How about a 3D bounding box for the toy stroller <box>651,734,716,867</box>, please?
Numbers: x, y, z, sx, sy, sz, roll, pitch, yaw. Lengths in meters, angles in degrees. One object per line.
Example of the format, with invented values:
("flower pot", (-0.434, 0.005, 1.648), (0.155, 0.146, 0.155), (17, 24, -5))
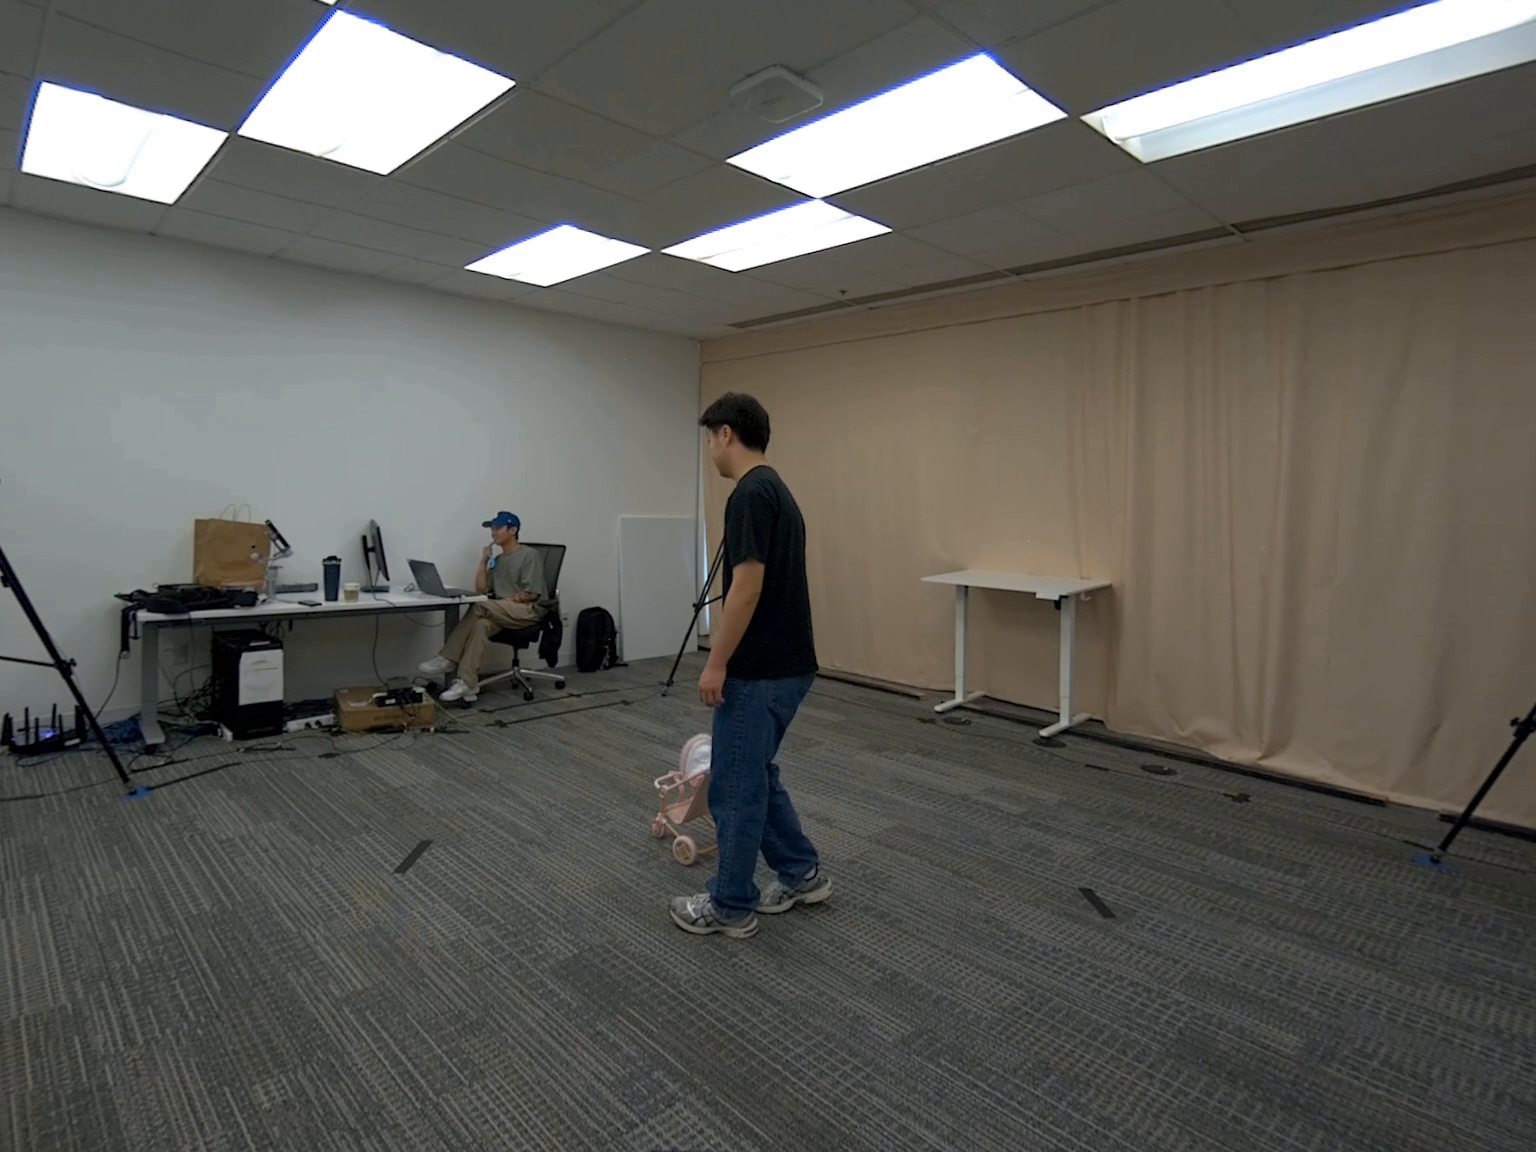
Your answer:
("toy stroller", (-0.296, 0.858, 3.319), (0.352, 0.531, 0.275), (25, 17, 39))
